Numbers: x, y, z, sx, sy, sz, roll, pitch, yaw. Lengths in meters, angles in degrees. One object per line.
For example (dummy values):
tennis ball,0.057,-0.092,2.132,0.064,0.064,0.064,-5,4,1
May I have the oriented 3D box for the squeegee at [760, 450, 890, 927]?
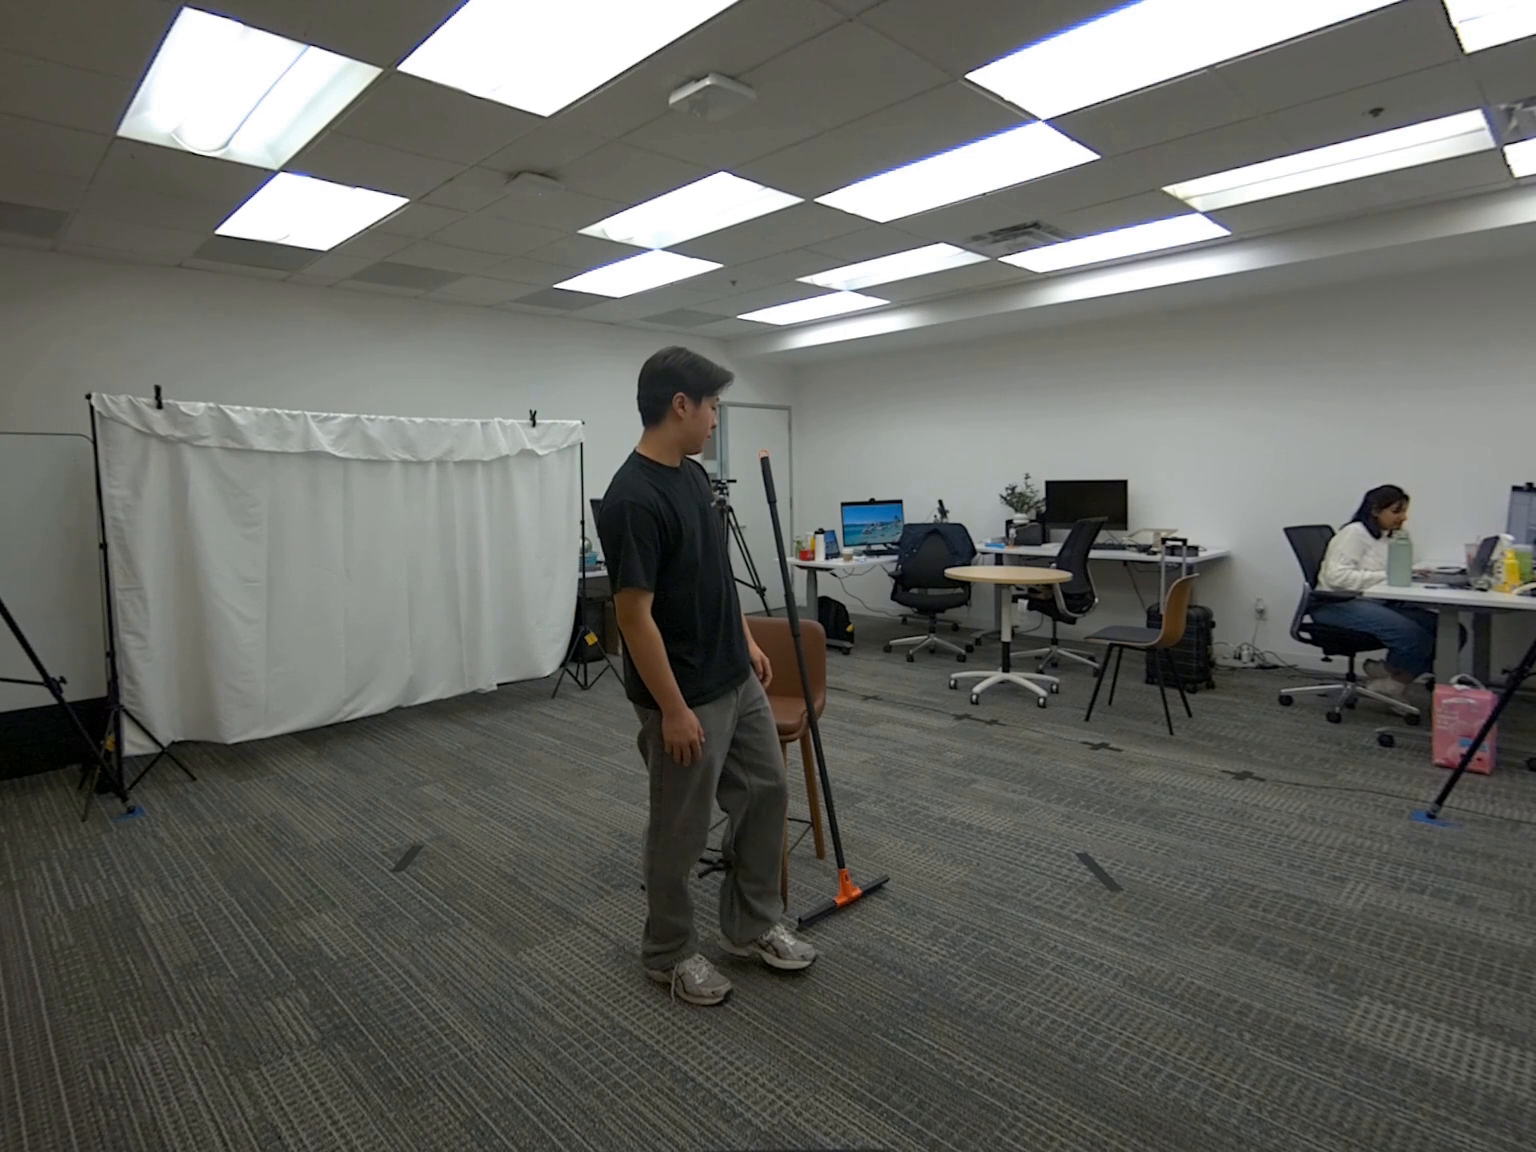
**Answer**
squeegee,0.121,0.313,2.876,0.426,1.552,0.054,-3,-11,-38
